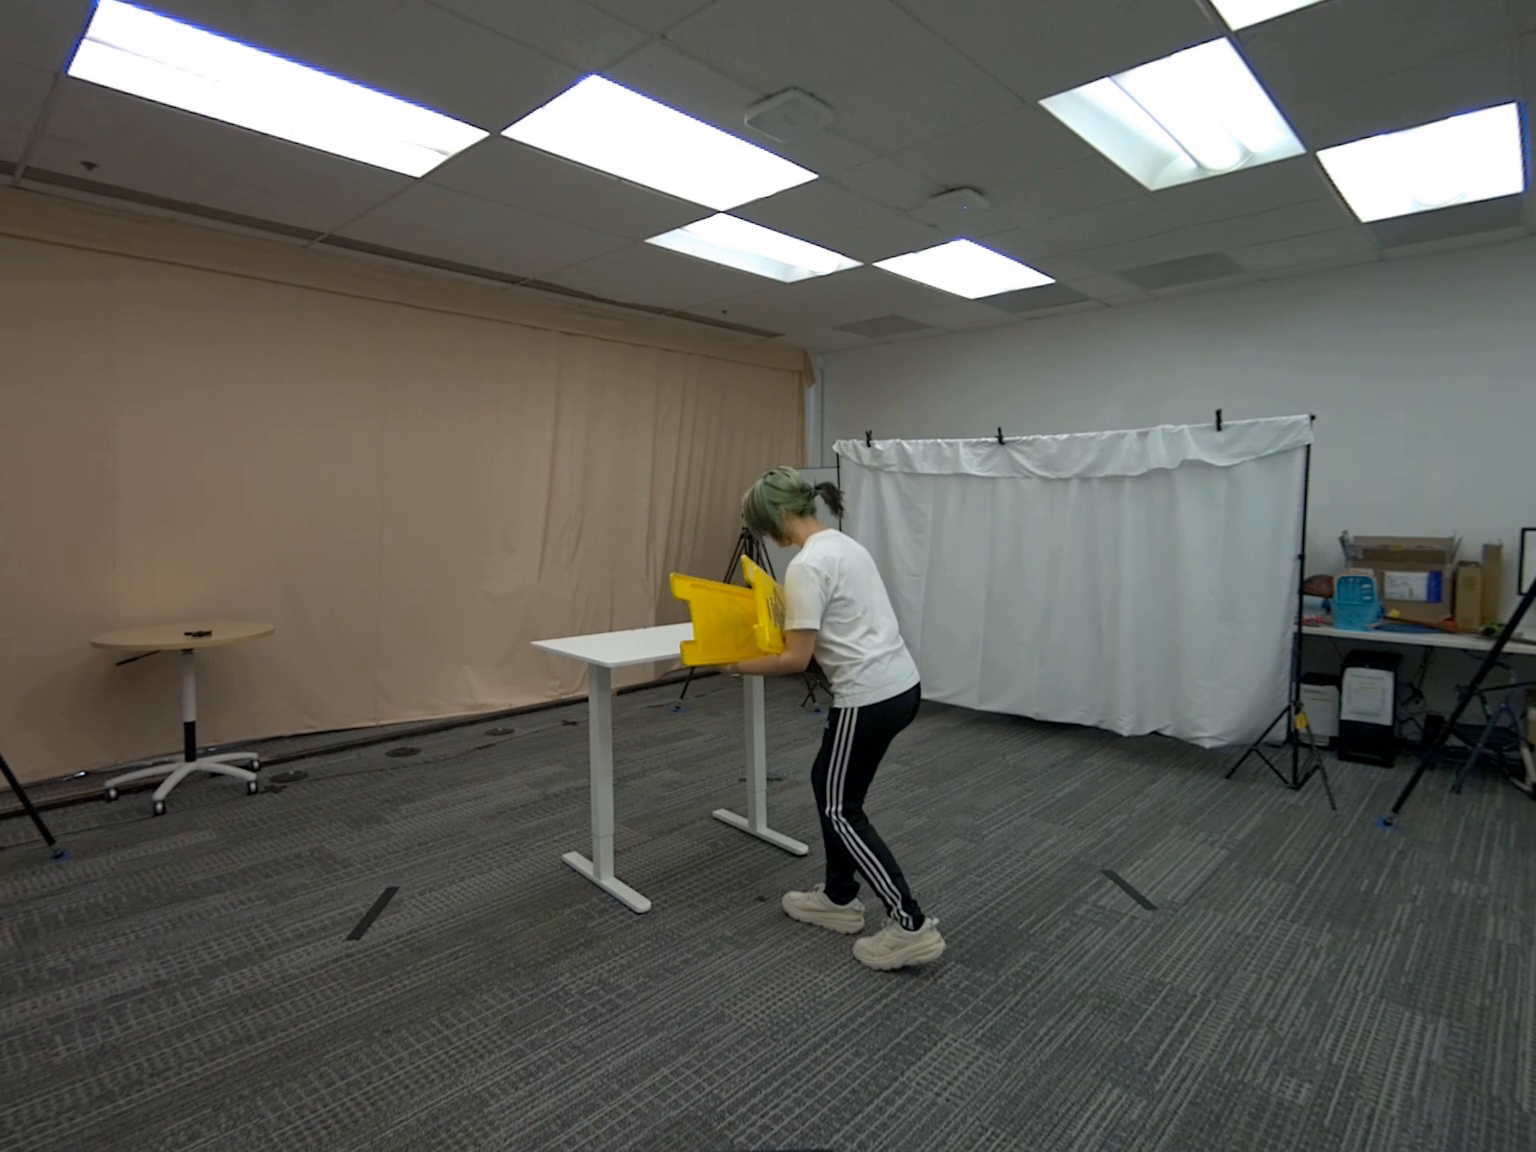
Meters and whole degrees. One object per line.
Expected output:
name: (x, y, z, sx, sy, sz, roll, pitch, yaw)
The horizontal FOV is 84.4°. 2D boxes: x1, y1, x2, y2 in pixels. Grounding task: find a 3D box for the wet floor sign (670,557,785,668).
wet floor sign: (-0.020, 0.153, 2.696, 0.295, 0.285, 0.626, -14, -15, 23)
